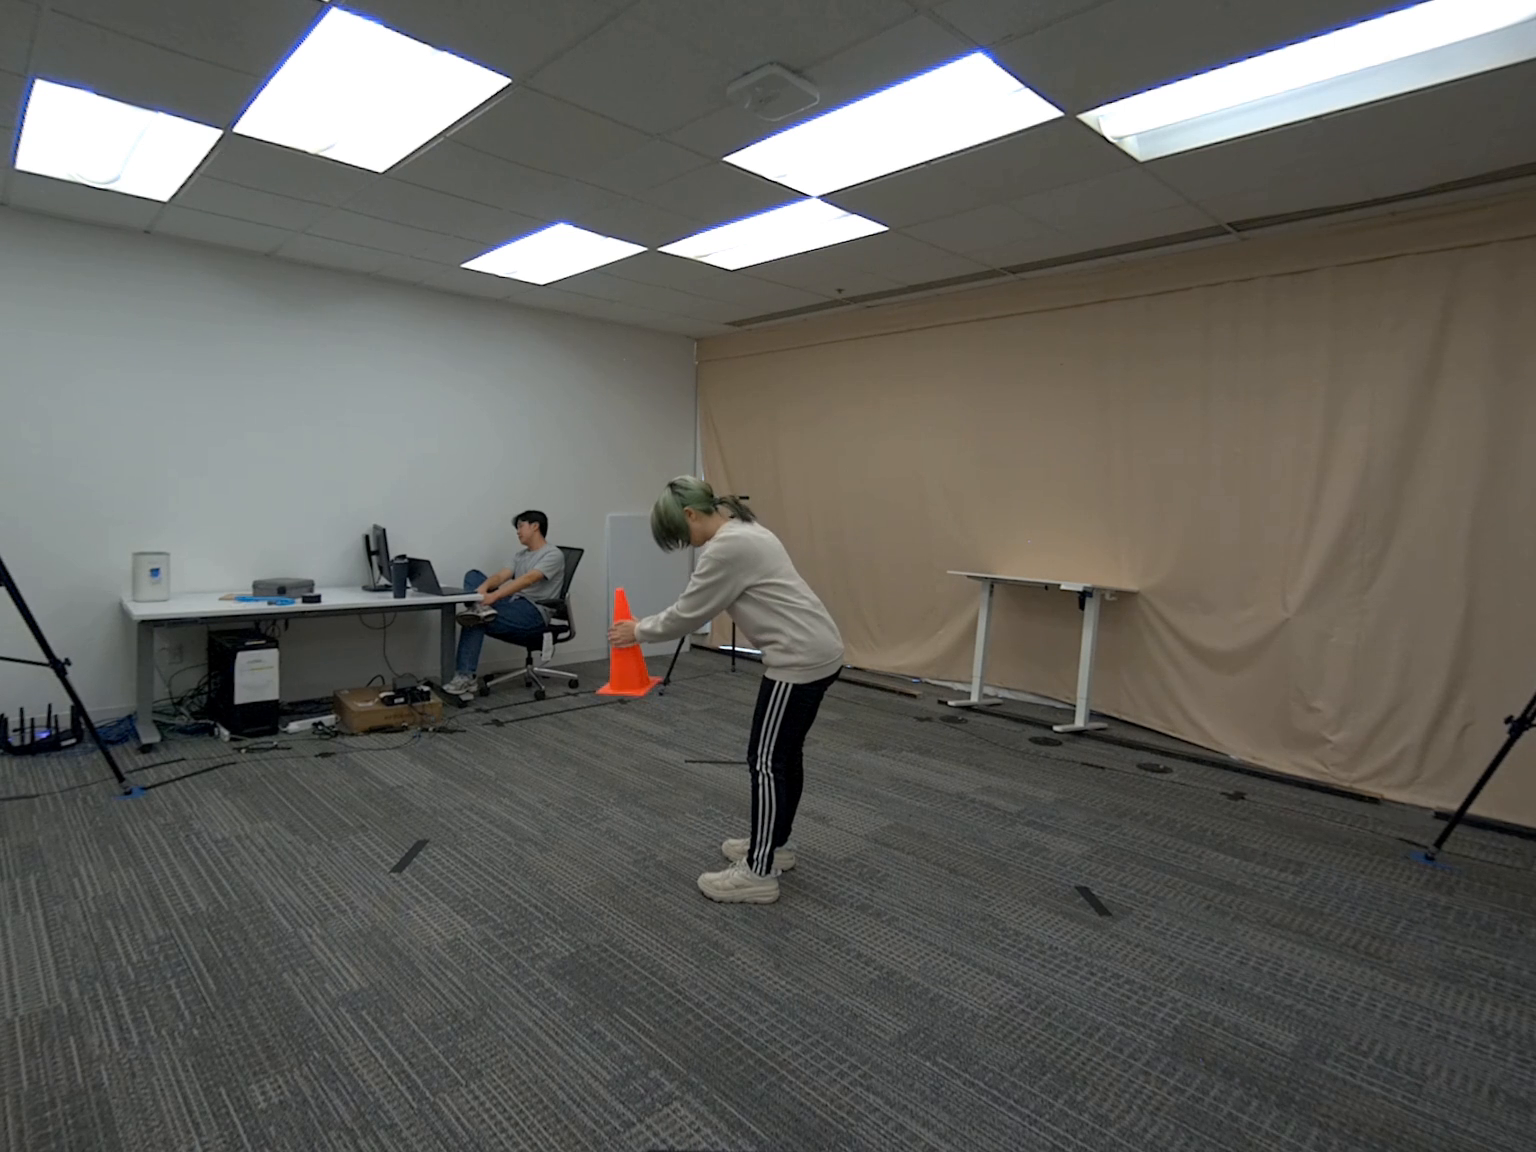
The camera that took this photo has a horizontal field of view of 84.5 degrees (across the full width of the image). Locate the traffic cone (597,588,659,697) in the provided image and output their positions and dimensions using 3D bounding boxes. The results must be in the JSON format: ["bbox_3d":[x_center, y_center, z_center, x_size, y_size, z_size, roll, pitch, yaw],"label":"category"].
[{"bbox_3d":[-0.541,0.247,3.206,0.206,0.381,0.203,-1,7,20],"label":"traffic cone"}]
